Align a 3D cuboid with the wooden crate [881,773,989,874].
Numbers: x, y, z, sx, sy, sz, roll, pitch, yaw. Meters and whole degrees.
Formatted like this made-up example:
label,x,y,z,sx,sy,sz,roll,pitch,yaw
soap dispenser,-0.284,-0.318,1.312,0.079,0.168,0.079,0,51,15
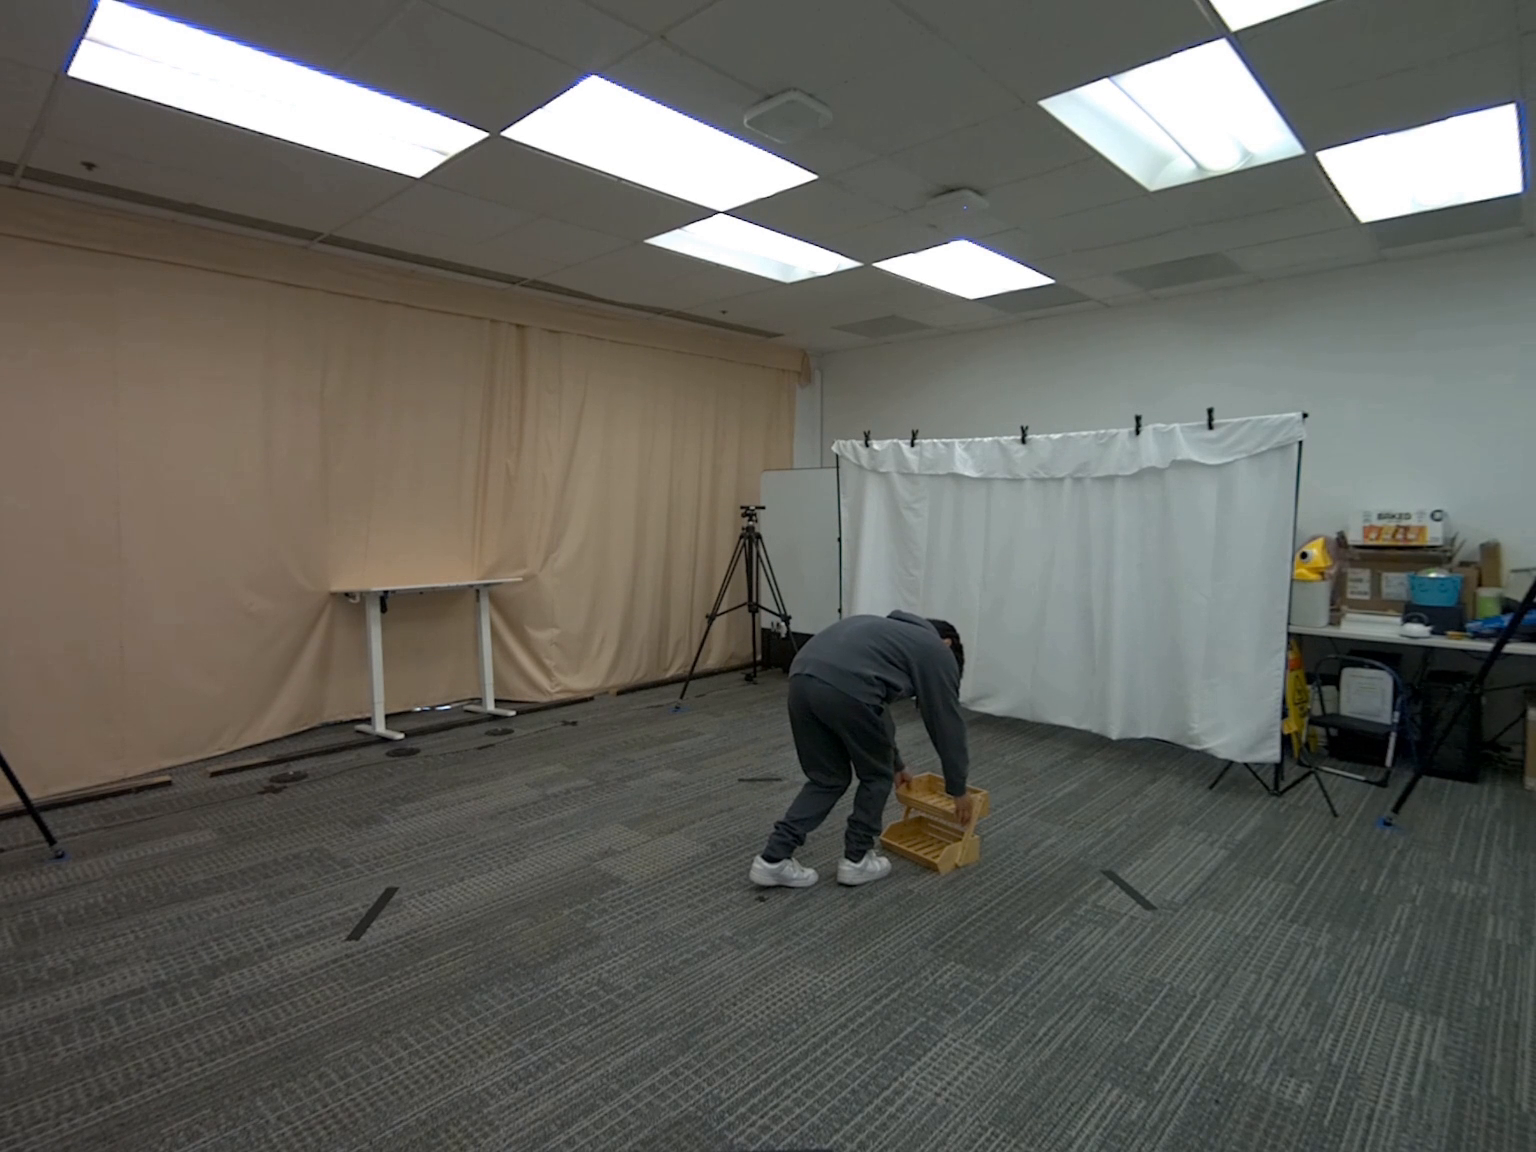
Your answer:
label,x,y,z,sx,sy,sz,roll,pitch,yaw
wooden crate,0.666,0.973,3.378,0.293,0.273,0.335,-2,4,-37
